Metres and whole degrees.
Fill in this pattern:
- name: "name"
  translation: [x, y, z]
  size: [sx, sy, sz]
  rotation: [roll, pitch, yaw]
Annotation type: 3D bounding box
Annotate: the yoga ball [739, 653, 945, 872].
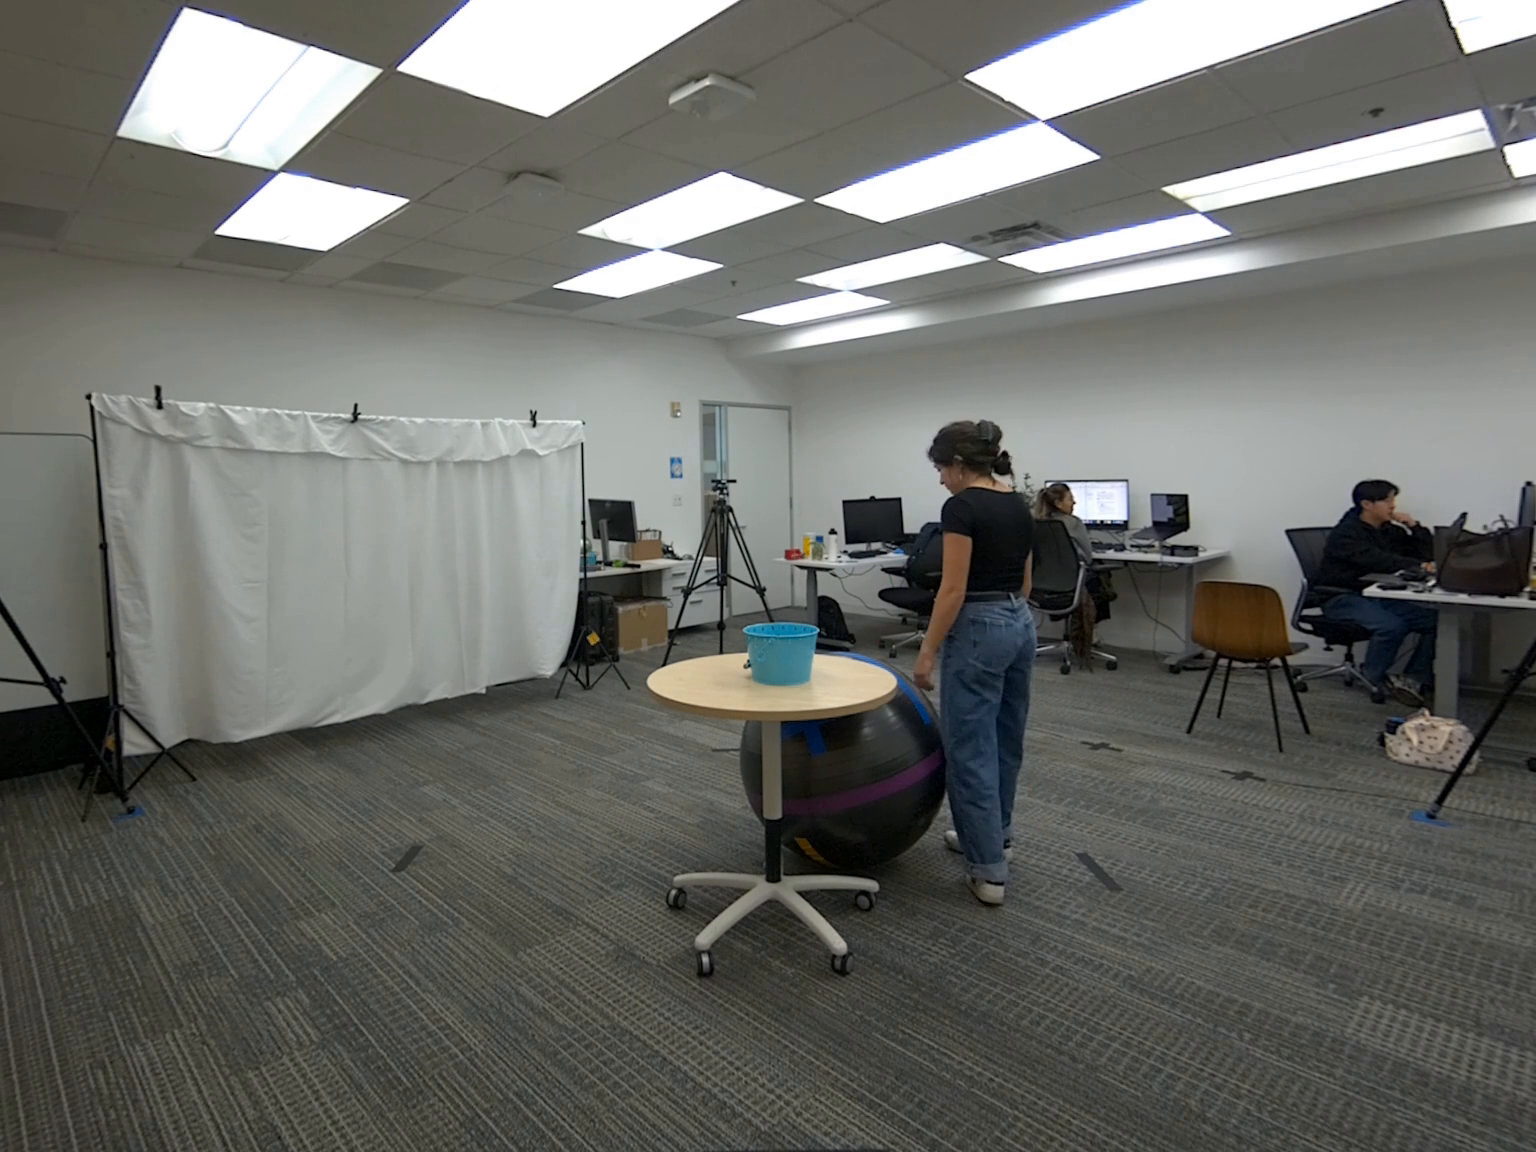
- name: "yoga ball"
  translation: [0.276, 0.673, 3.129]
  size: [0.757, 0.755, 0.762]
  rotation: [-1, 5, -2]
